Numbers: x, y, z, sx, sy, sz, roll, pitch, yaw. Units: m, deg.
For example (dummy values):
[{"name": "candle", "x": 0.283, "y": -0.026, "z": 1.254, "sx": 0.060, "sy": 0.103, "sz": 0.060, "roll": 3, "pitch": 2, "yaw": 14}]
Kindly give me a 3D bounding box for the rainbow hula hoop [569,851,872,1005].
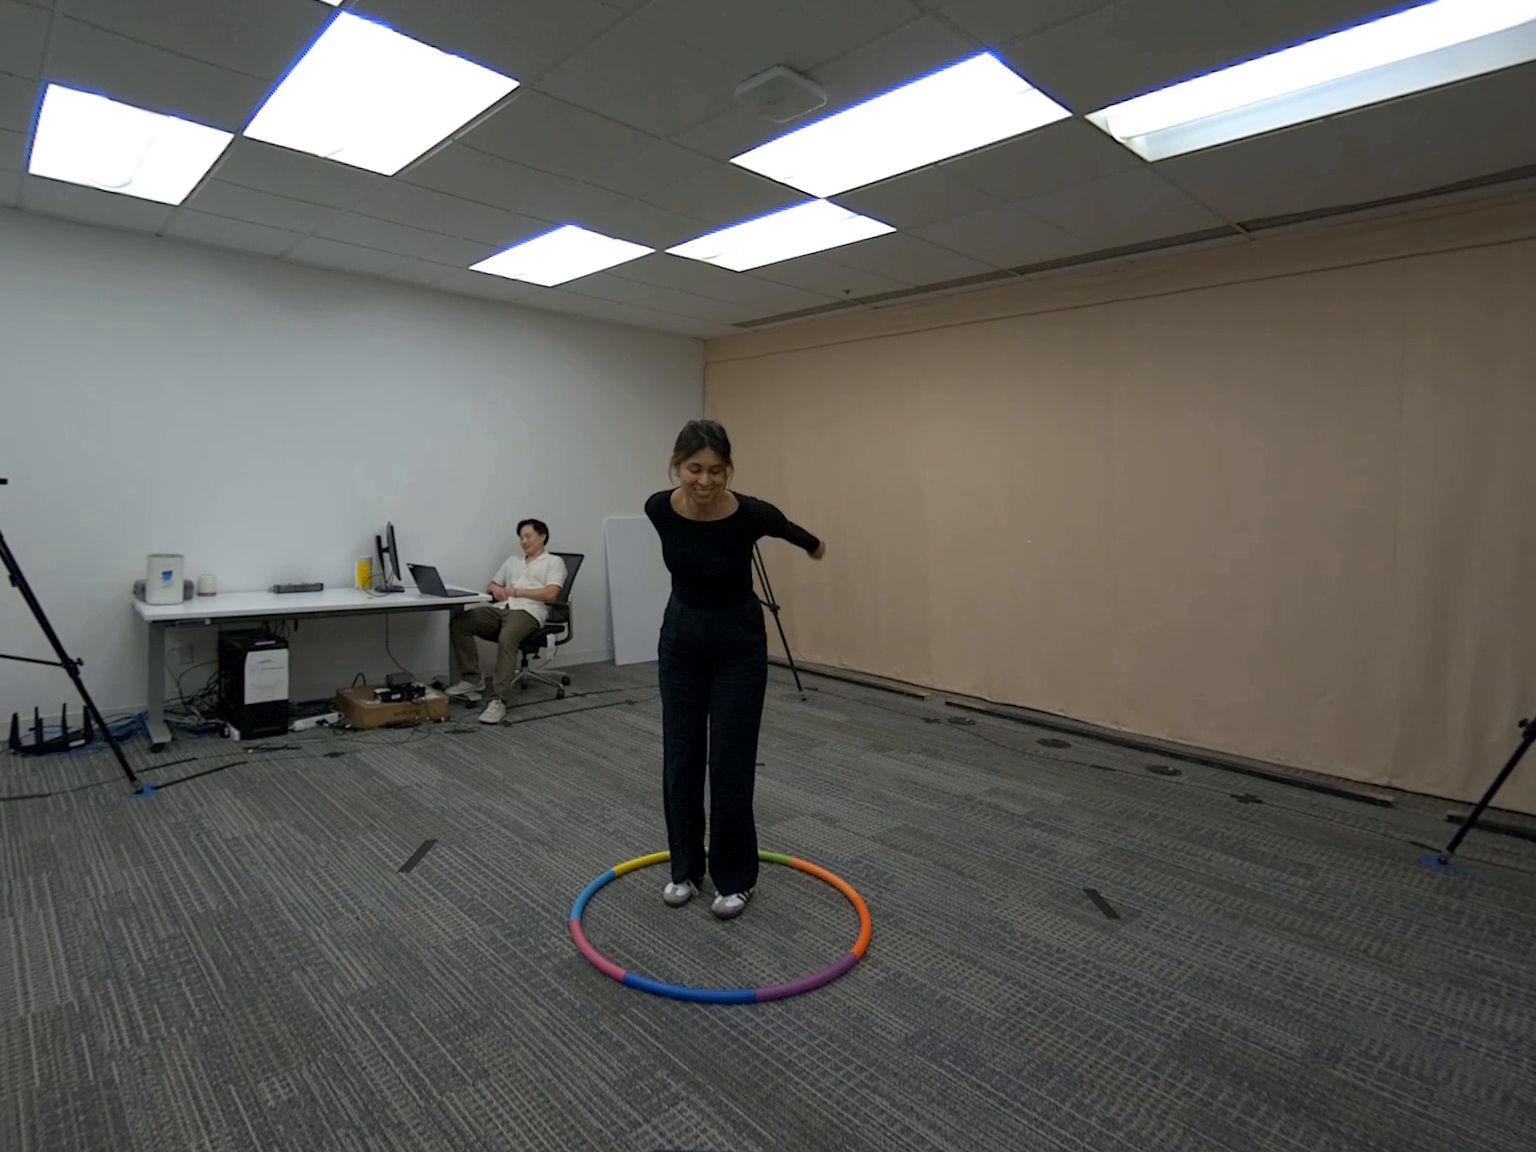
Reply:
[{"name": "rainbow hula hoop", "x": -0.164, "y": 1.107, "z": 2.800, "sx": 0.978, "sy": 0.035, "sz": 0.982, "roll": 1, "pitch": 5, "yaw": -1}]
